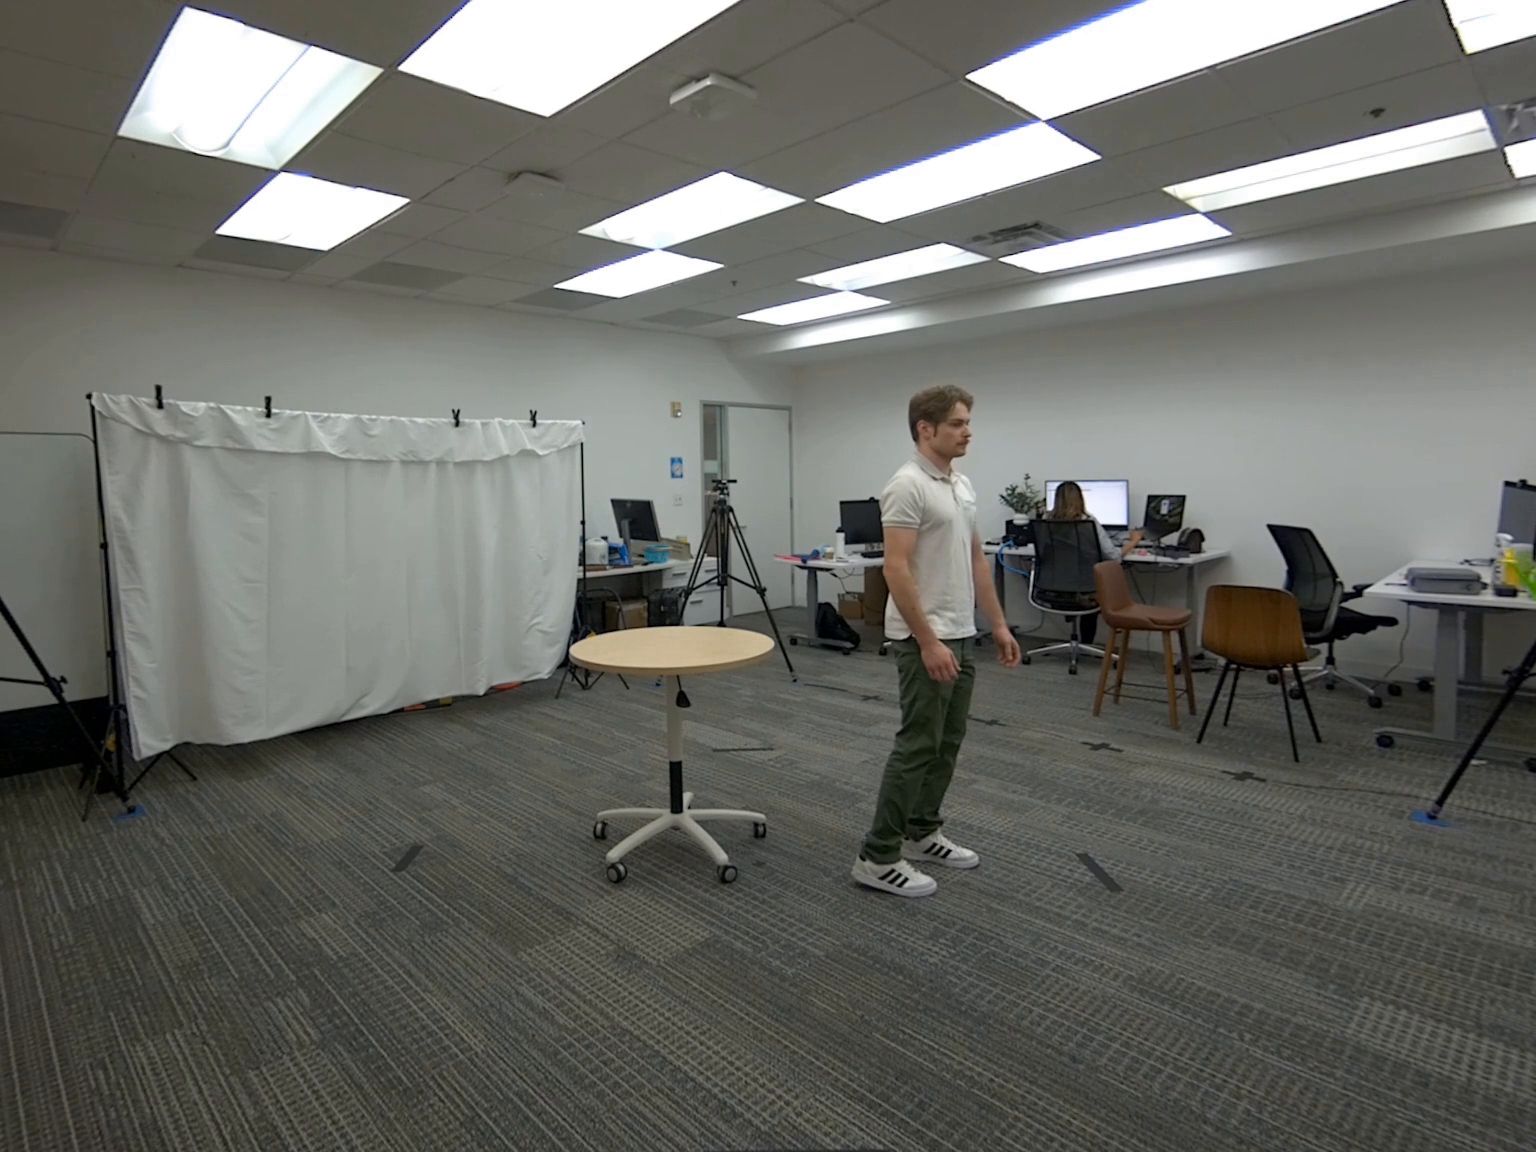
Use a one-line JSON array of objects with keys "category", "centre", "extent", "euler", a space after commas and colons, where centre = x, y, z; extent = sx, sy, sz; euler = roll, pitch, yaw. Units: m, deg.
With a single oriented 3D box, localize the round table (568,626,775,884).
[{"category": "round table", "centre": [-0.351, 0.648, 3.237], "extent": [0.763, 0.791, 0.768], "euler": [-1, 5, -2]}]
